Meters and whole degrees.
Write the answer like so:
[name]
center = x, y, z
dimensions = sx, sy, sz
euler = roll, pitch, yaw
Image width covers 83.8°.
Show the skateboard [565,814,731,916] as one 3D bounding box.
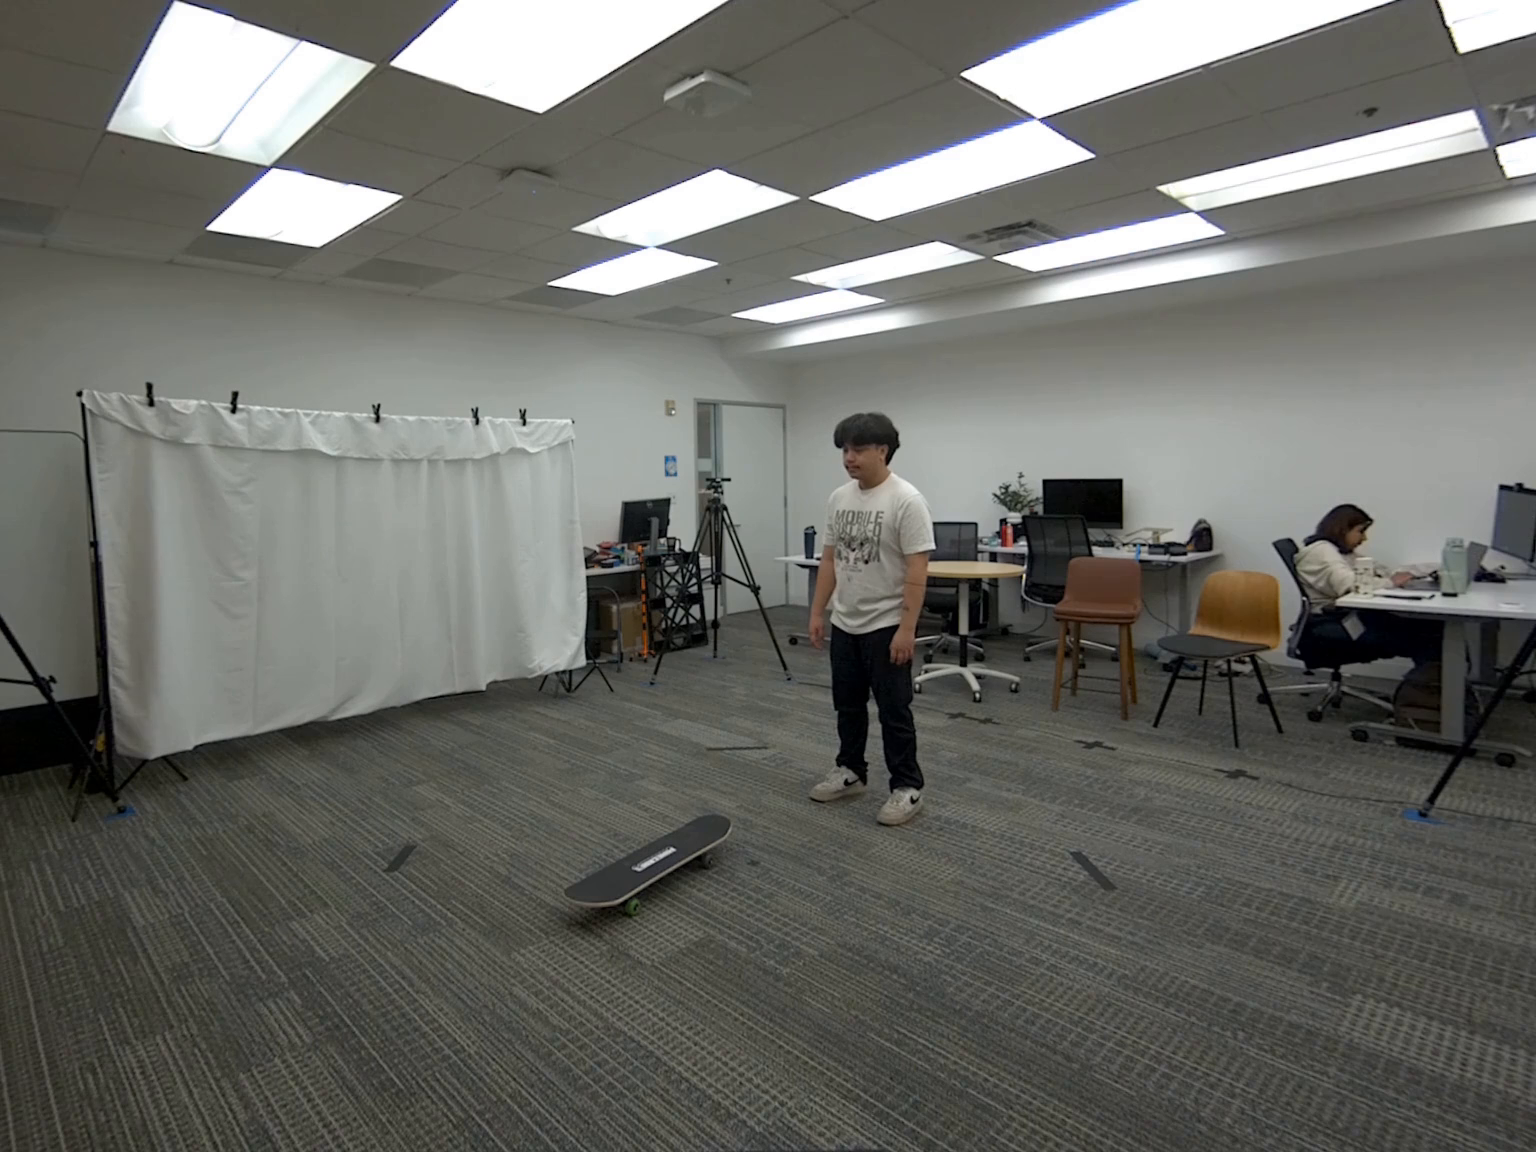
[skateboard]
center = -0.390, 1.008, 2.957
dimensions = 0.199, 0.110, 0.767
euler = 3, 8, 33
